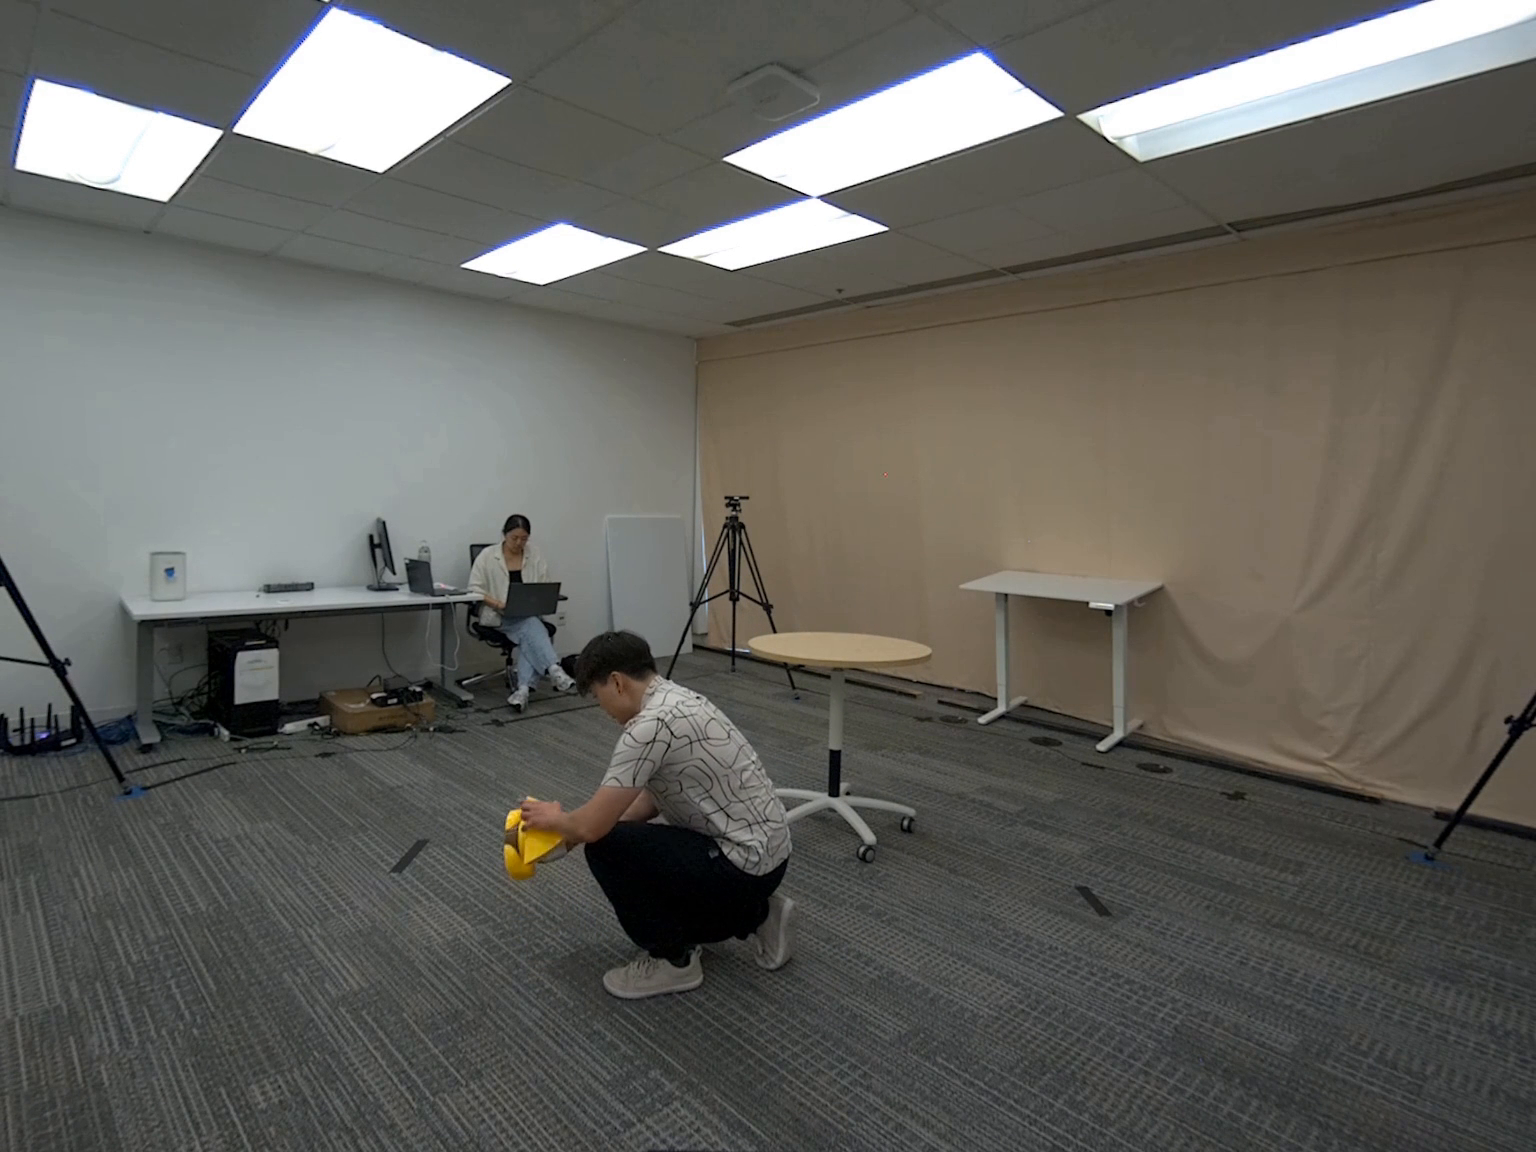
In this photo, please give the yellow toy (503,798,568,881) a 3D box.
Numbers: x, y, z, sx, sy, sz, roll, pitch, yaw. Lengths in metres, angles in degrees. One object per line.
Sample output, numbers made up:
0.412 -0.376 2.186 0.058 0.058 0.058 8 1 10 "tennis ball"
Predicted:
-0.661 0.791 2.555 0.232 0.210 0.187 -14 -38 8 "yellow toy"
